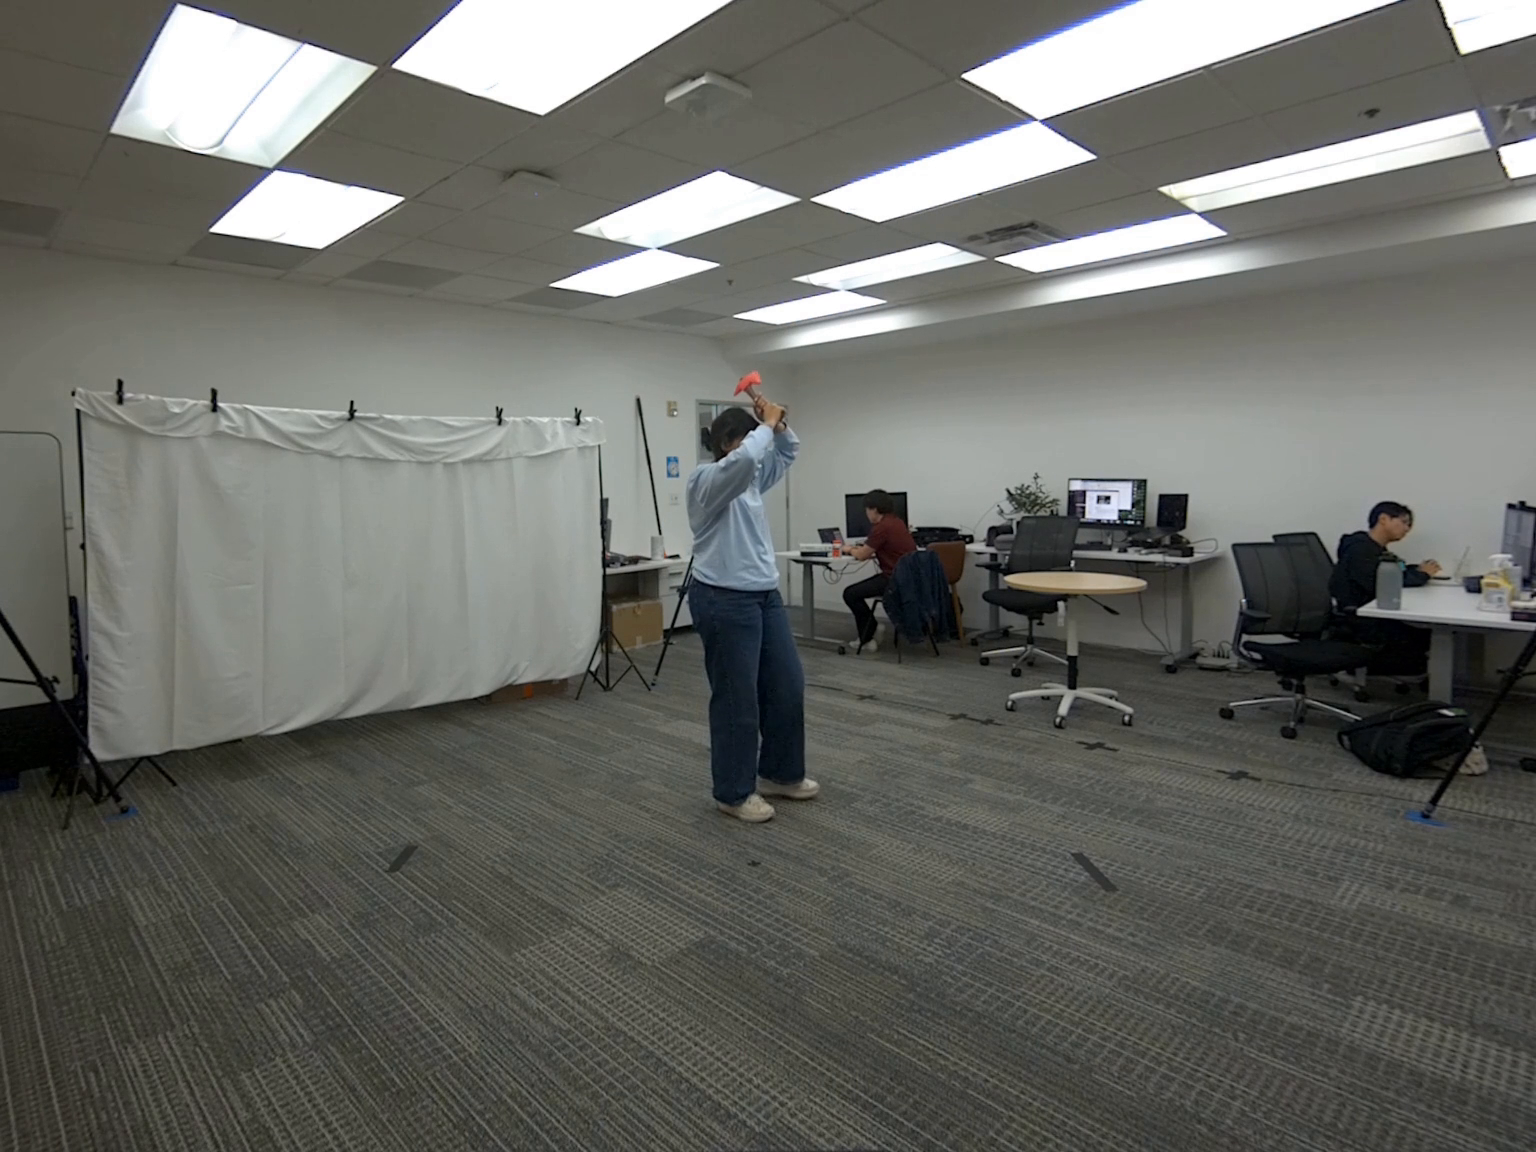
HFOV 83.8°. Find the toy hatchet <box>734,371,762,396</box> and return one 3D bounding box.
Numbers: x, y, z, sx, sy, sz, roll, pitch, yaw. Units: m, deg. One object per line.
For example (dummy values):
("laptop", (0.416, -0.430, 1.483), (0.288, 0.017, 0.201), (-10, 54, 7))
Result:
("toy hatchet", (-0.013, -0.732, 3.428), (0.279, 0.131, 0.029), (34, 9, 29))
